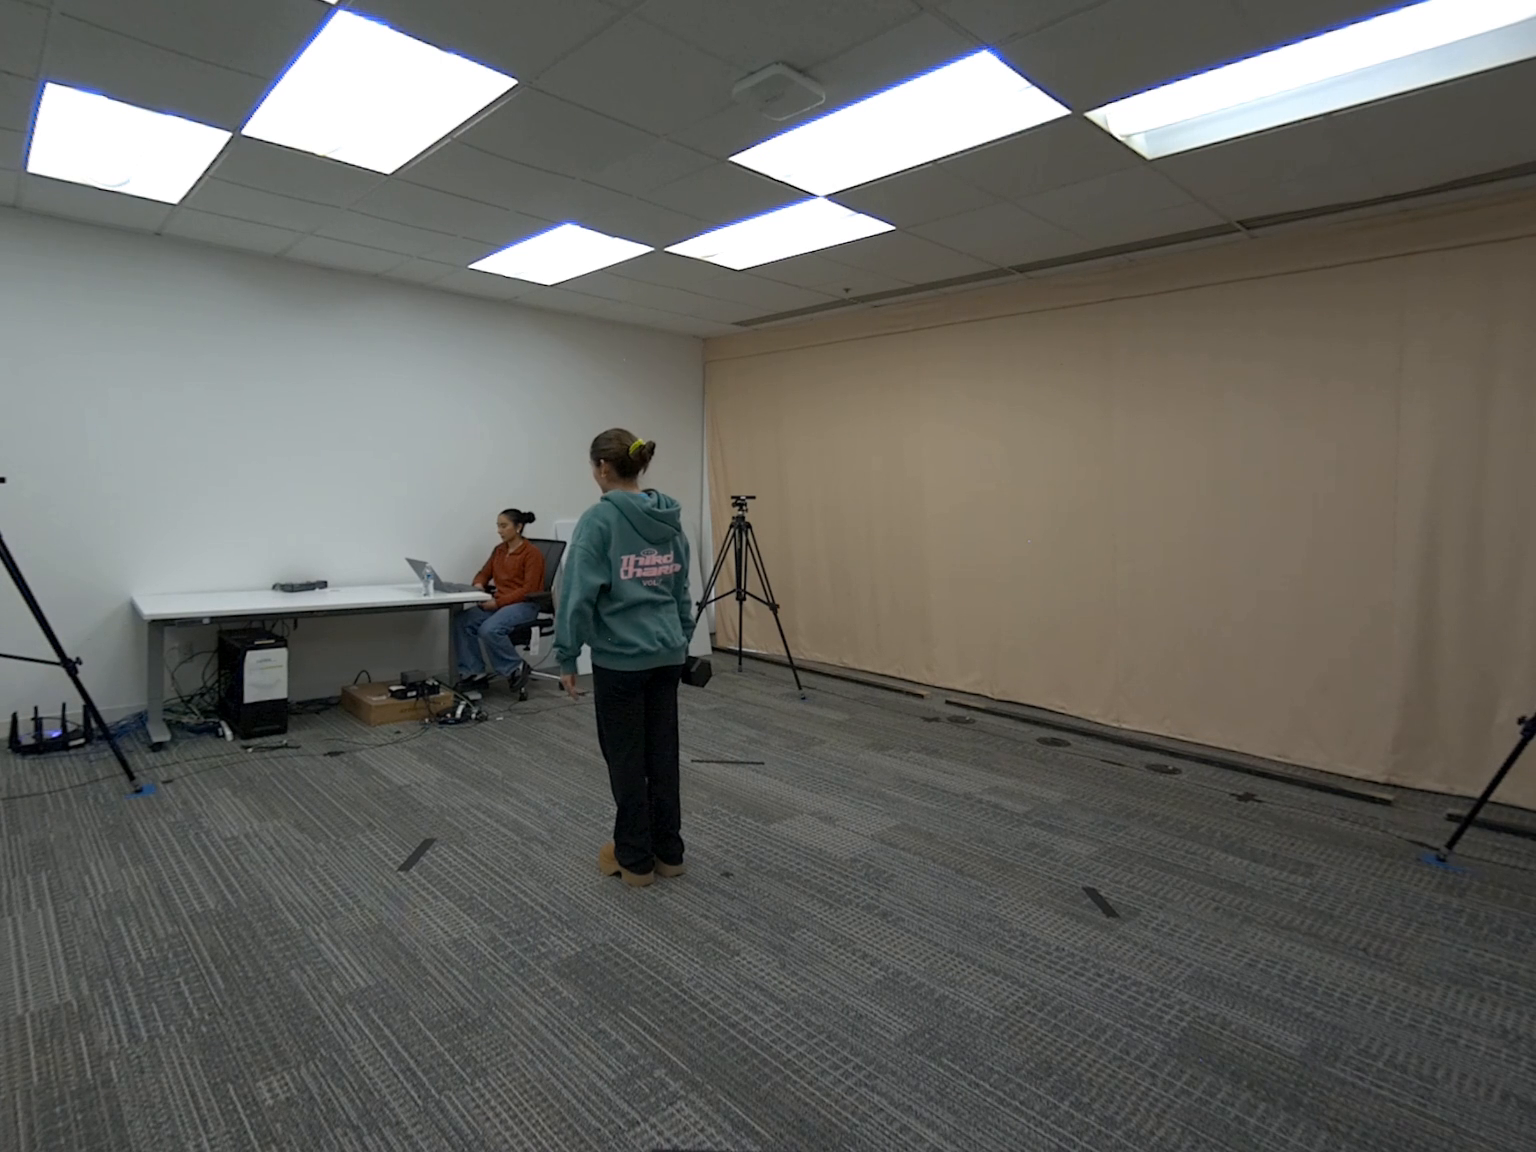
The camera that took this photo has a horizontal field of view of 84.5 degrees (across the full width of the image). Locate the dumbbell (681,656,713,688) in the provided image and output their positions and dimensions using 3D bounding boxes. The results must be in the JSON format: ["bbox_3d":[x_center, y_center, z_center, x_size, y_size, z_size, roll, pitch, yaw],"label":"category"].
[{"bbox_3d":[-0.354,0.347,3.248,0.301,0.105,0.123,9,52,43],"label":"dumbbell"}]
